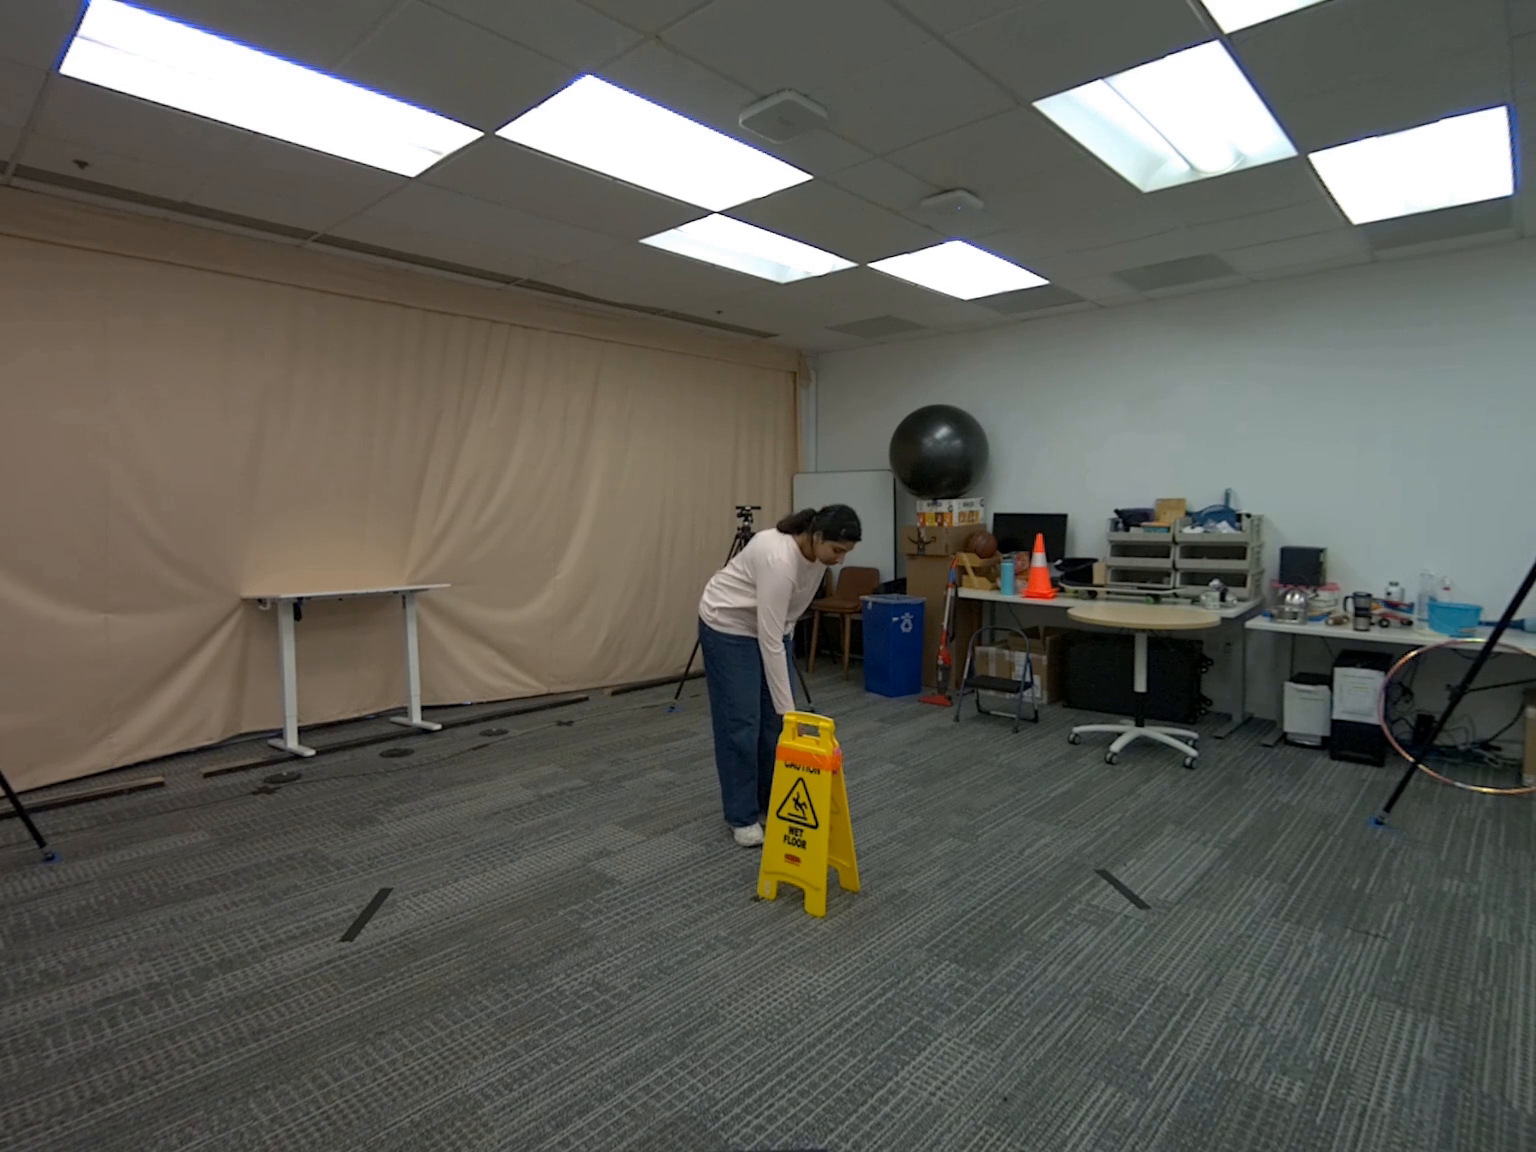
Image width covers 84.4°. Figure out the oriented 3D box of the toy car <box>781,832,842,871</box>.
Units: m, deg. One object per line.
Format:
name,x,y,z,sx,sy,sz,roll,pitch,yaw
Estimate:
toy car,0.172,1.078,3.329,0.134,0.083,0.246,2,-7,32
